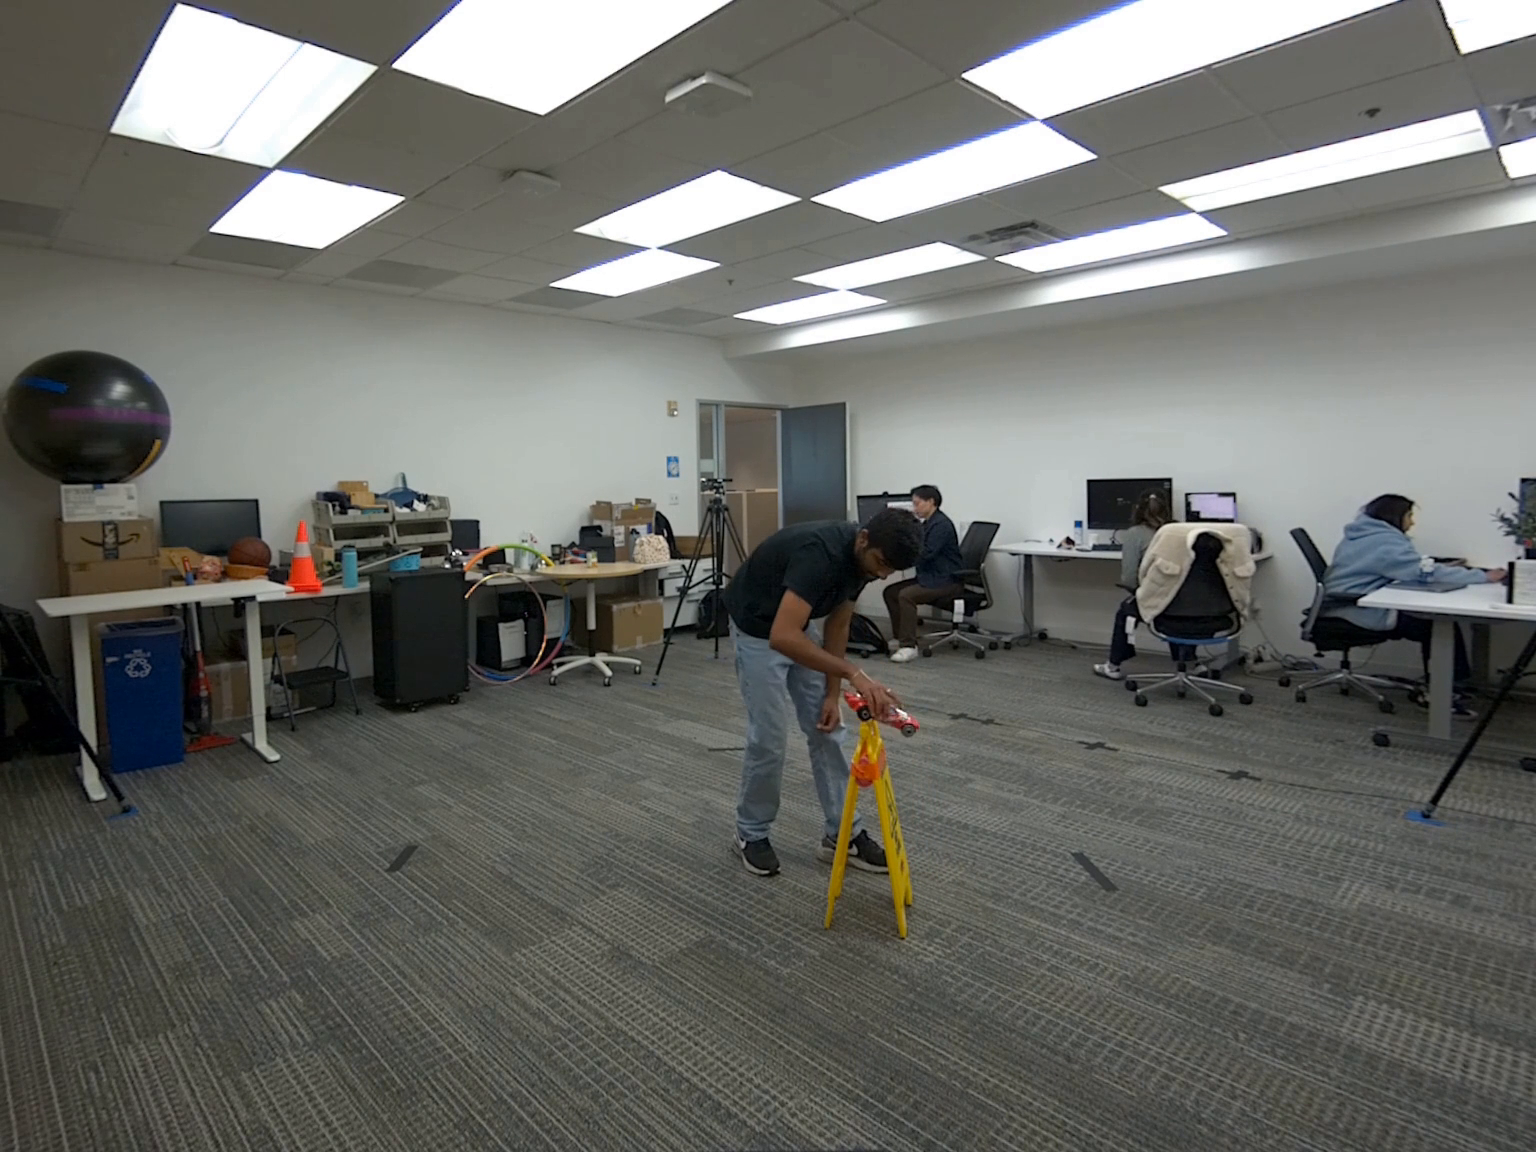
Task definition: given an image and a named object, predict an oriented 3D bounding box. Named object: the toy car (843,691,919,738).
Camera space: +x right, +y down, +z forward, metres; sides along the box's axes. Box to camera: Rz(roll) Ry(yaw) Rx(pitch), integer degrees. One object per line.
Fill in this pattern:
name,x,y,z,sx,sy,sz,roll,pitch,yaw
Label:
toy car,0.337,0.420,2.669,0.252,0.083,0.131,34,6,-7
